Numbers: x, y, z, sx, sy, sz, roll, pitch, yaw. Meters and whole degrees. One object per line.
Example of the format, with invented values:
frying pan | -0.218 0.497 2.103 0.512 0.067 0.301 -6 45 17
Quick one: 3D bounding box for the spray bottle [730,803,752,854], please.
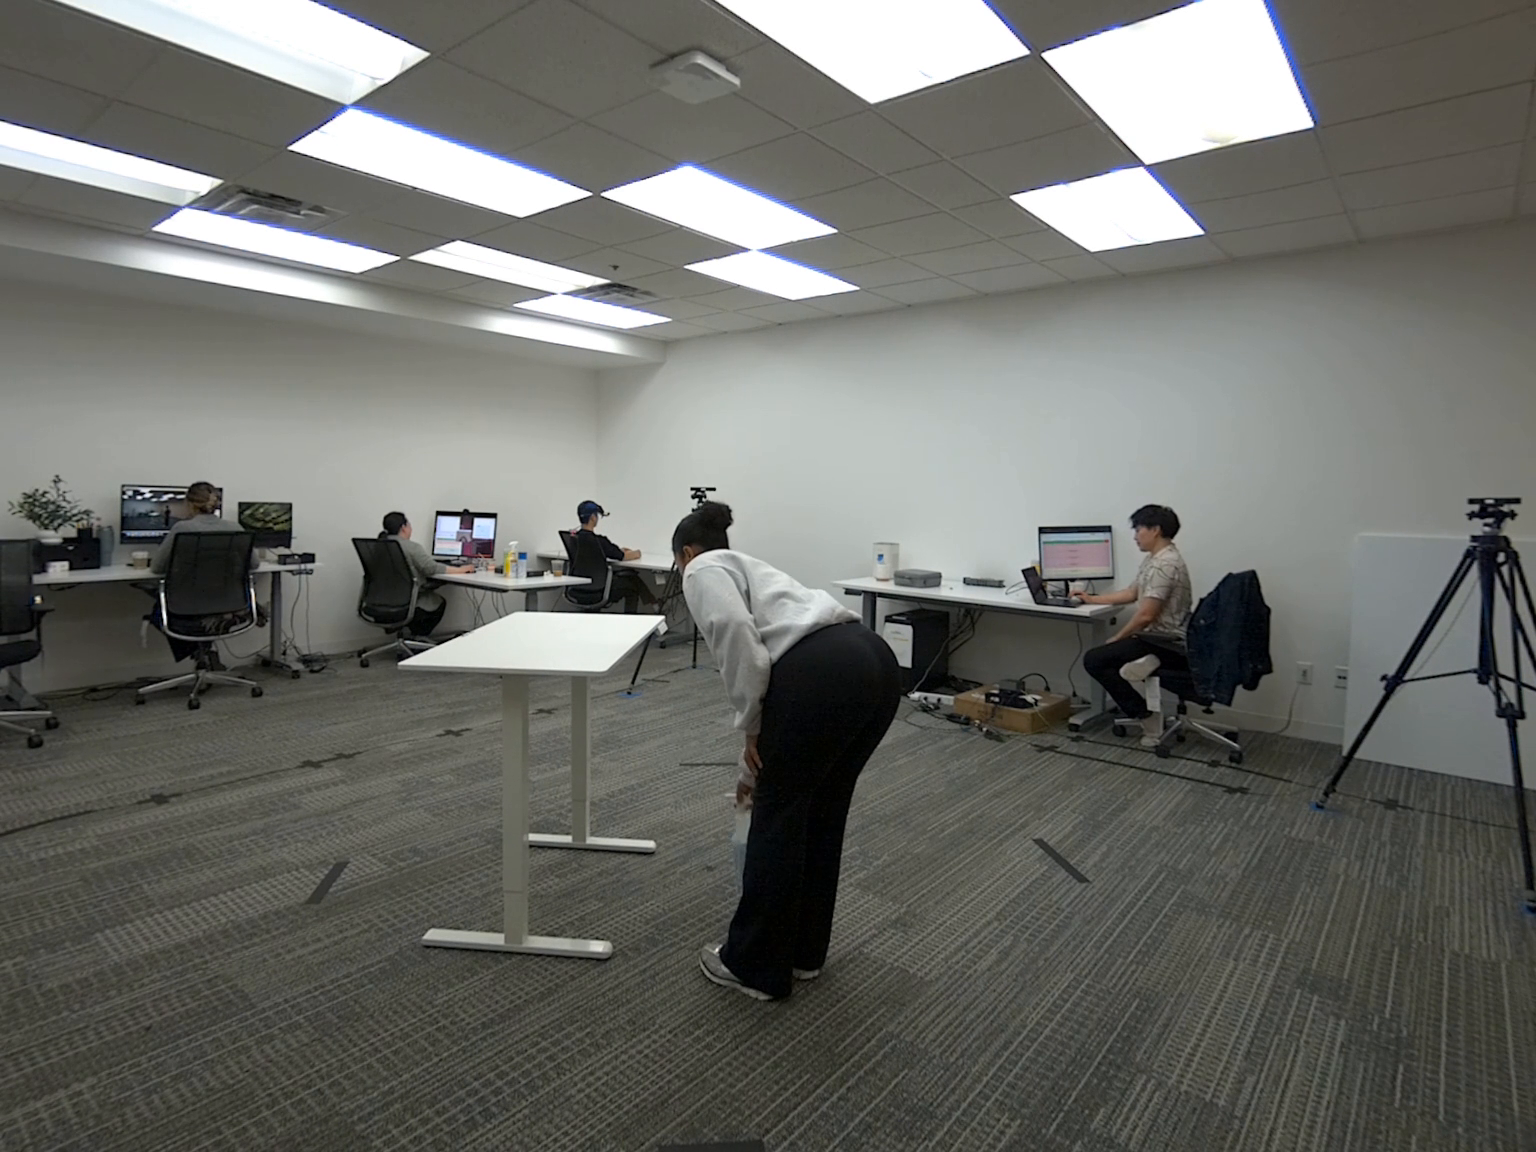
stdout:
spray bottle | -0.087 0.707 2.738 0.092 0.296 0.085 -2 3 27
